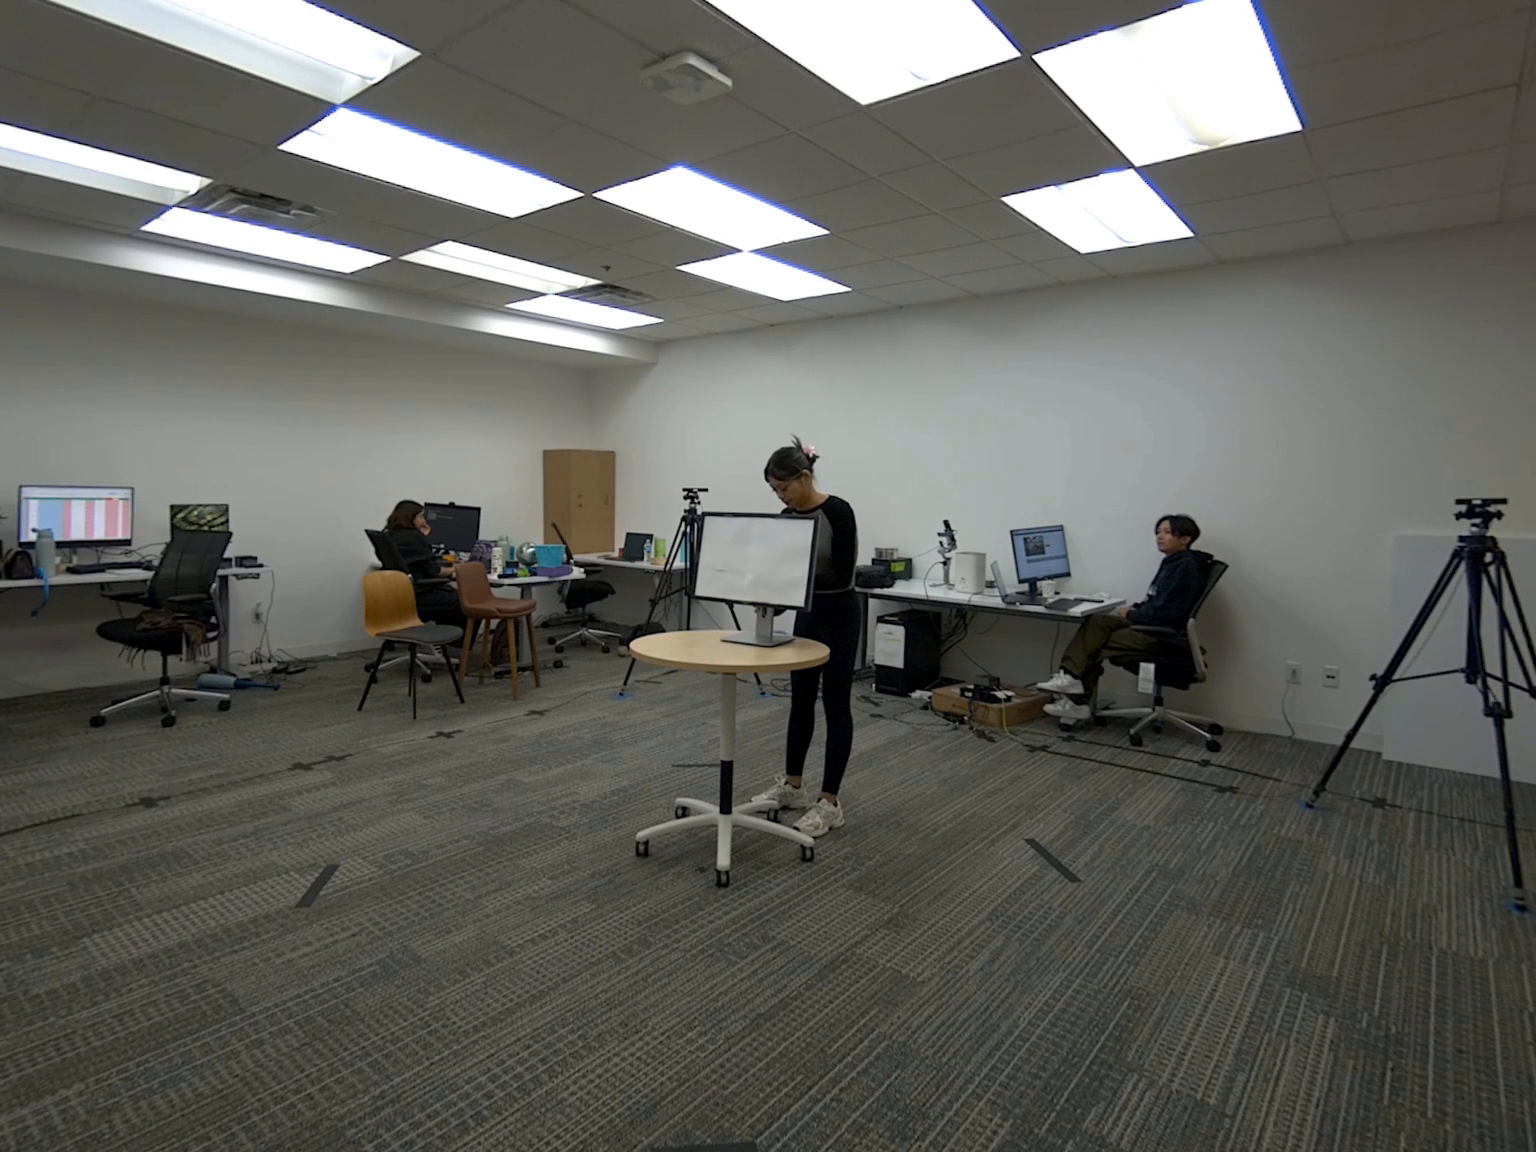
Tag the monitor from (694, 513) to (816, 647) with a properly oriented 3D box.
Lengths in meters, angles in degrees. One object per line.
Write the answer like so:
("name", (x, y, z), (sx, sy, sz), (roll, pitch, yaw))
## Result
("monitor", (-0.051, 0.008, 3.367), (0.547, 0.511, 0.171), (5, 13, 35))
